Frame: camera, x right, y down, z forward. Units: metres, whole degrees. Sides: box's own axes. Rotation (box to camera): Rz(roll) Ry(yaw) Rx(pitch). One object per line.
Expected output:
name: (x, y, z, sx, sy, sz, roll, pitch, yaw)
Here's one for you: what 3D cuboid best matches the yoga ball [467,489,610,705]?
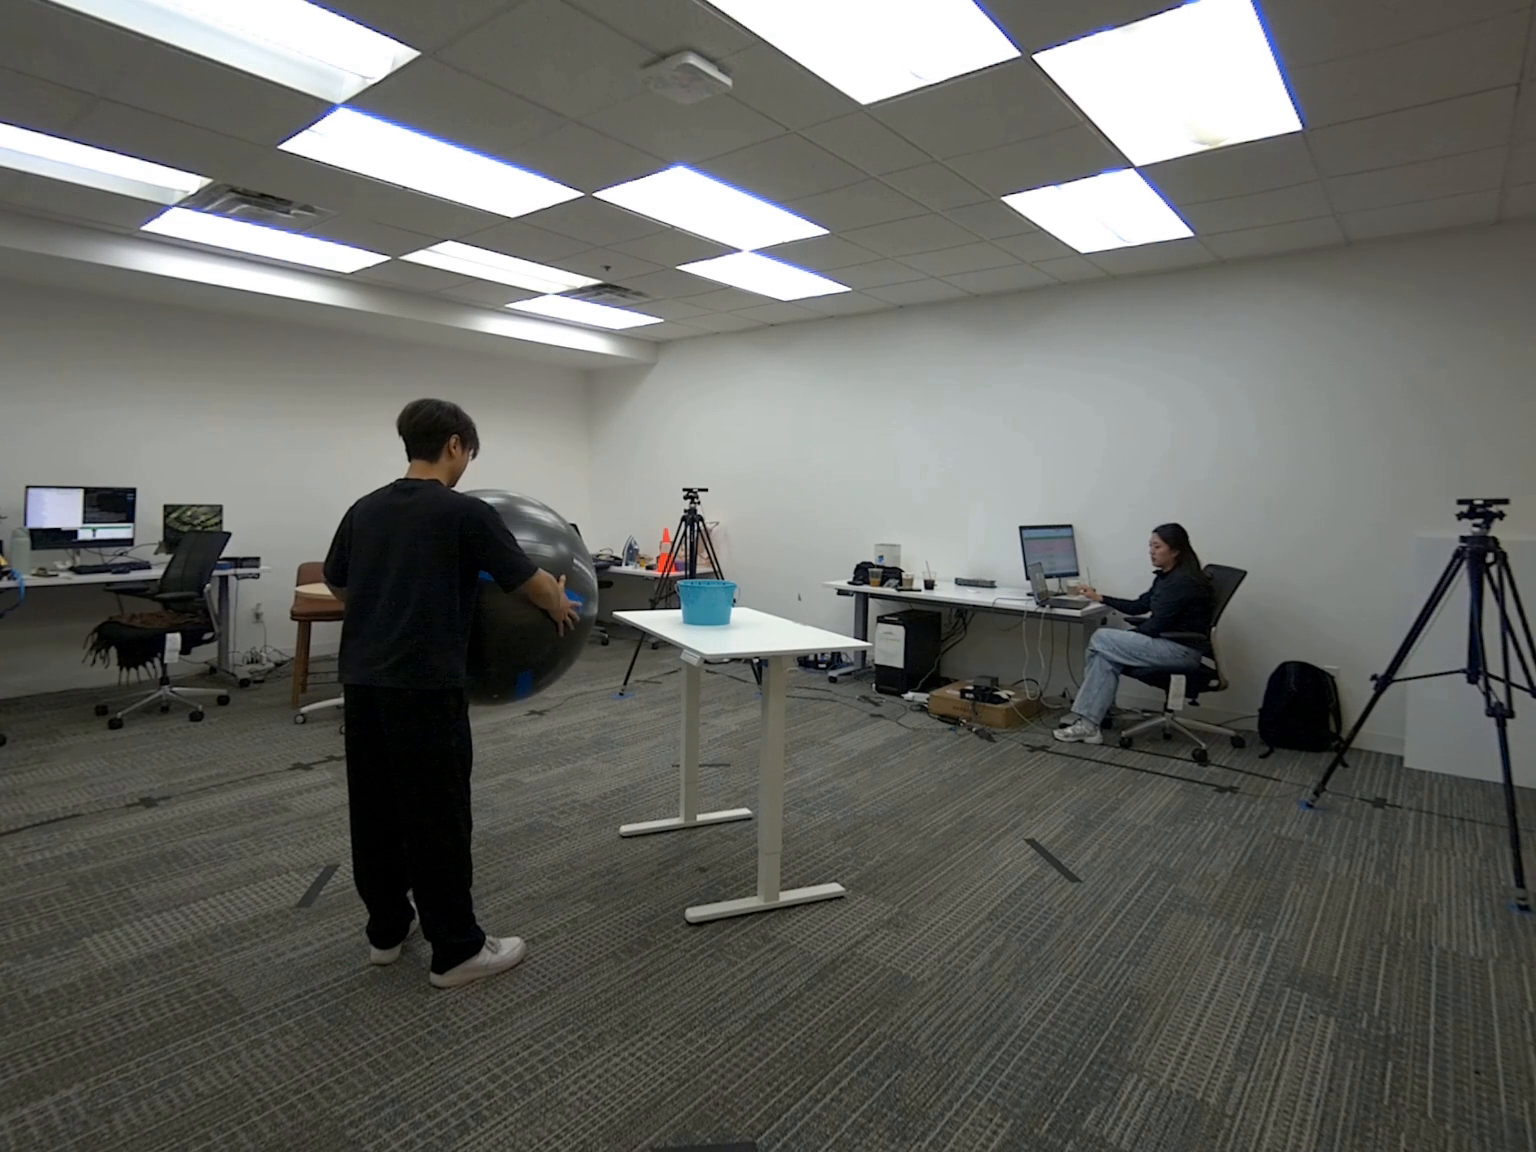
yoga ball: (-0.993, 0.076, 3.003, 0.757, 0.756, 0.762, 1, 4, -2)
